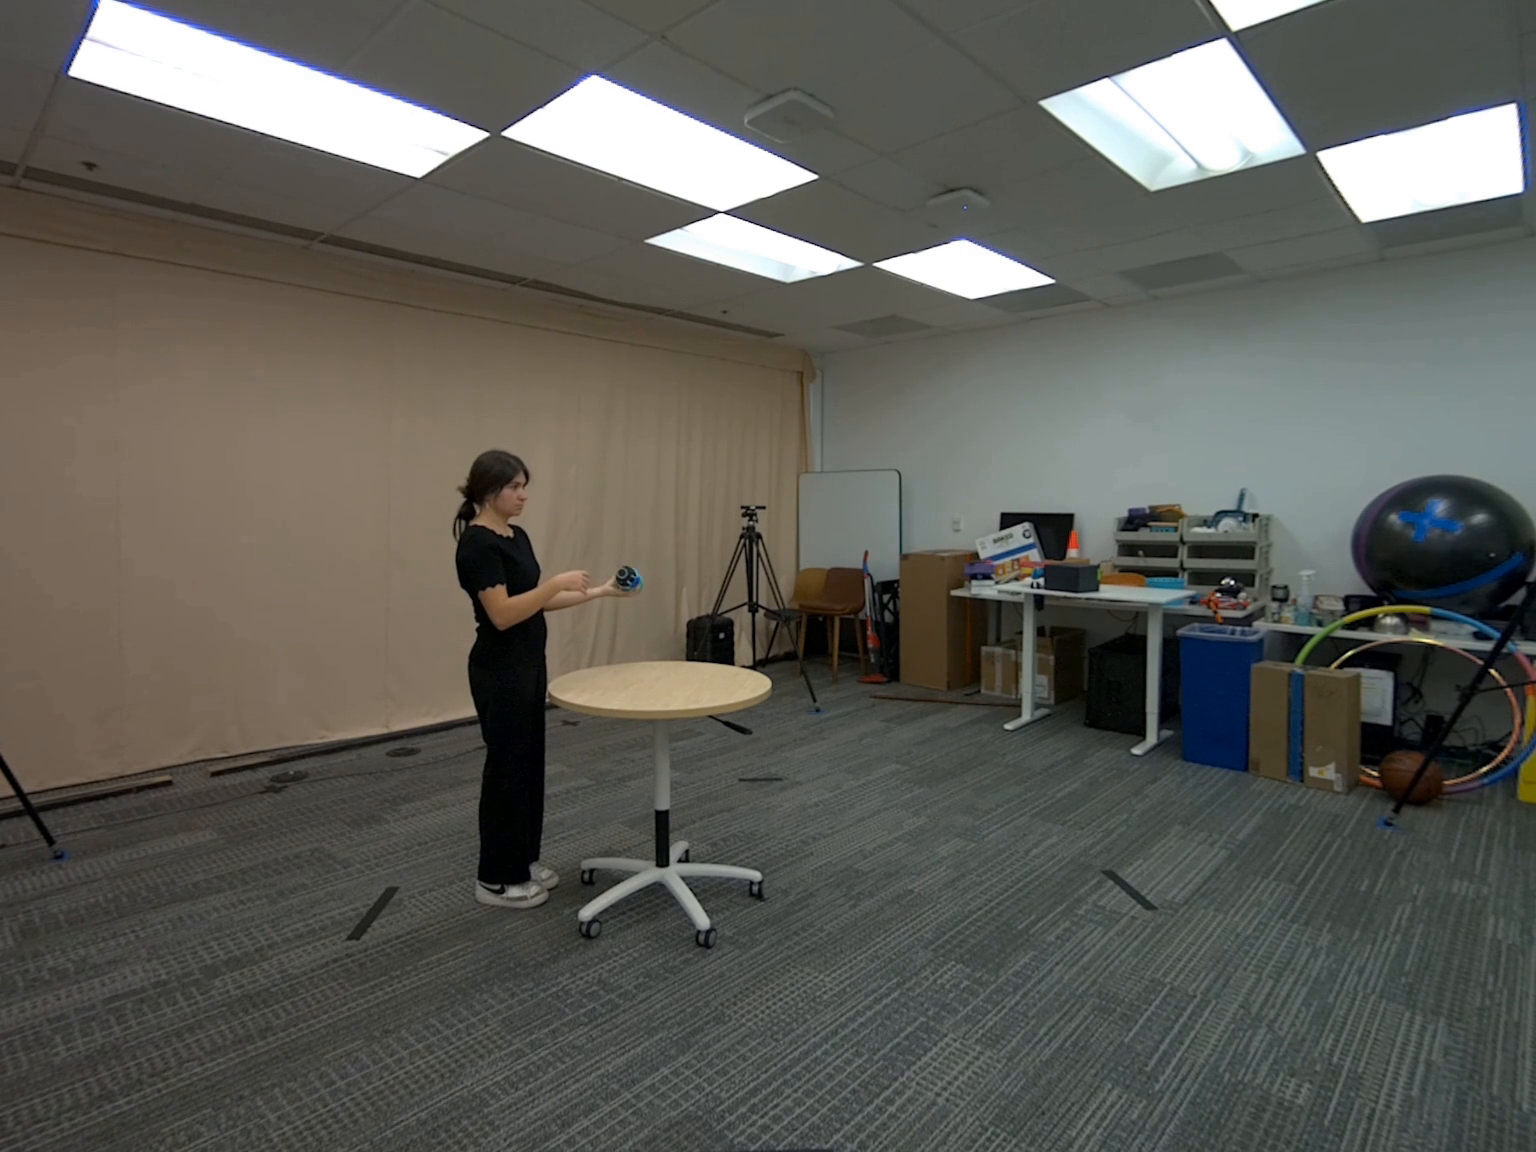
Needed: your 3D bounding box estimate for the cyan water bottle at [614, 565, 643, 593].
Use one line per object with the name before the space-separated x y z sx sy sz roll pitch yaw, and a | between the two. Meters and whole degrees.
cyan water bottle | -0.539 0.017 3.266 0.092 0.093 0.282 0 -6 -2
